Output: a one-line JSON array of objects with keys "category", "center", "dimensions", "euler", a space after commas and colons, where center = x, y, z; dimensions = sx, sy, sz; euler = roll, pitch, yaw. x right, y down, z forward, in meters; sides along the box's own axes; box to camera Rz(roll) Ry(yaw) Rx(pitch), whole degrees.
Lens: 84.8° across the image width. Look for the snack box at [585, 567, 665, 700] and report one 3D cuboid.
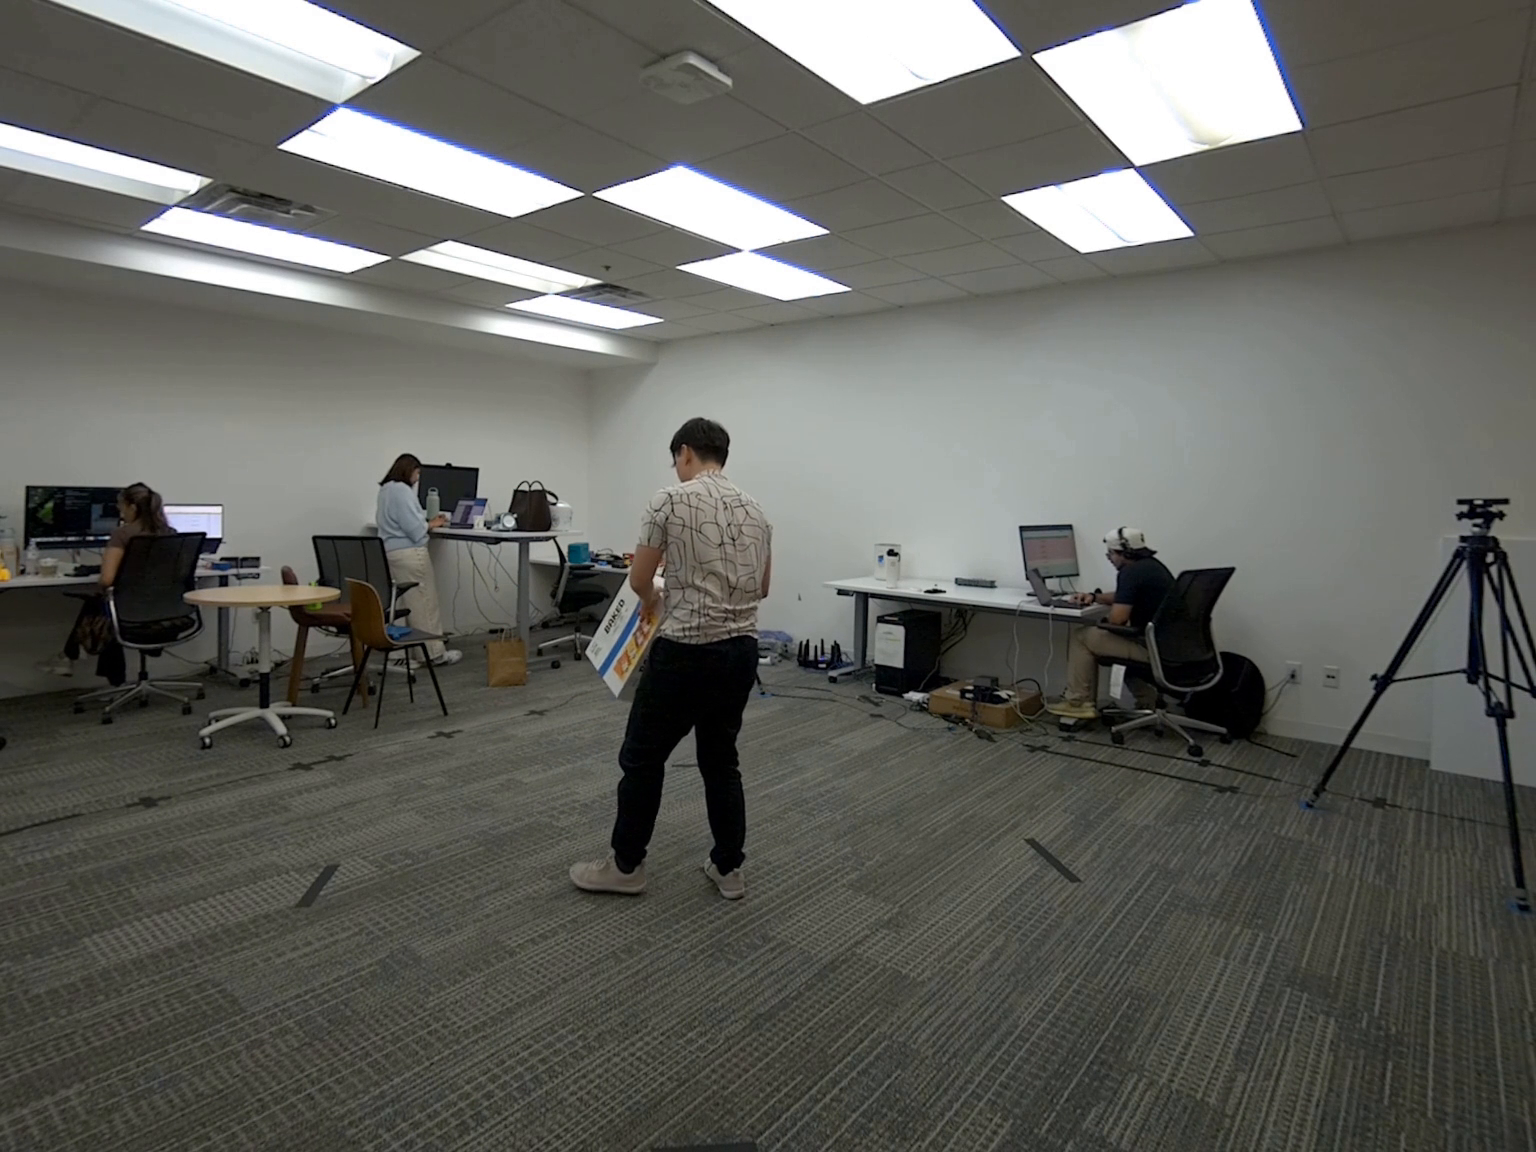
[{"category": "snack box", "center": [-0.495, 0.234, 3.298], "dimensions": [0.197, 0.404, 0.355], "euler": [26, 8, -39]}]
